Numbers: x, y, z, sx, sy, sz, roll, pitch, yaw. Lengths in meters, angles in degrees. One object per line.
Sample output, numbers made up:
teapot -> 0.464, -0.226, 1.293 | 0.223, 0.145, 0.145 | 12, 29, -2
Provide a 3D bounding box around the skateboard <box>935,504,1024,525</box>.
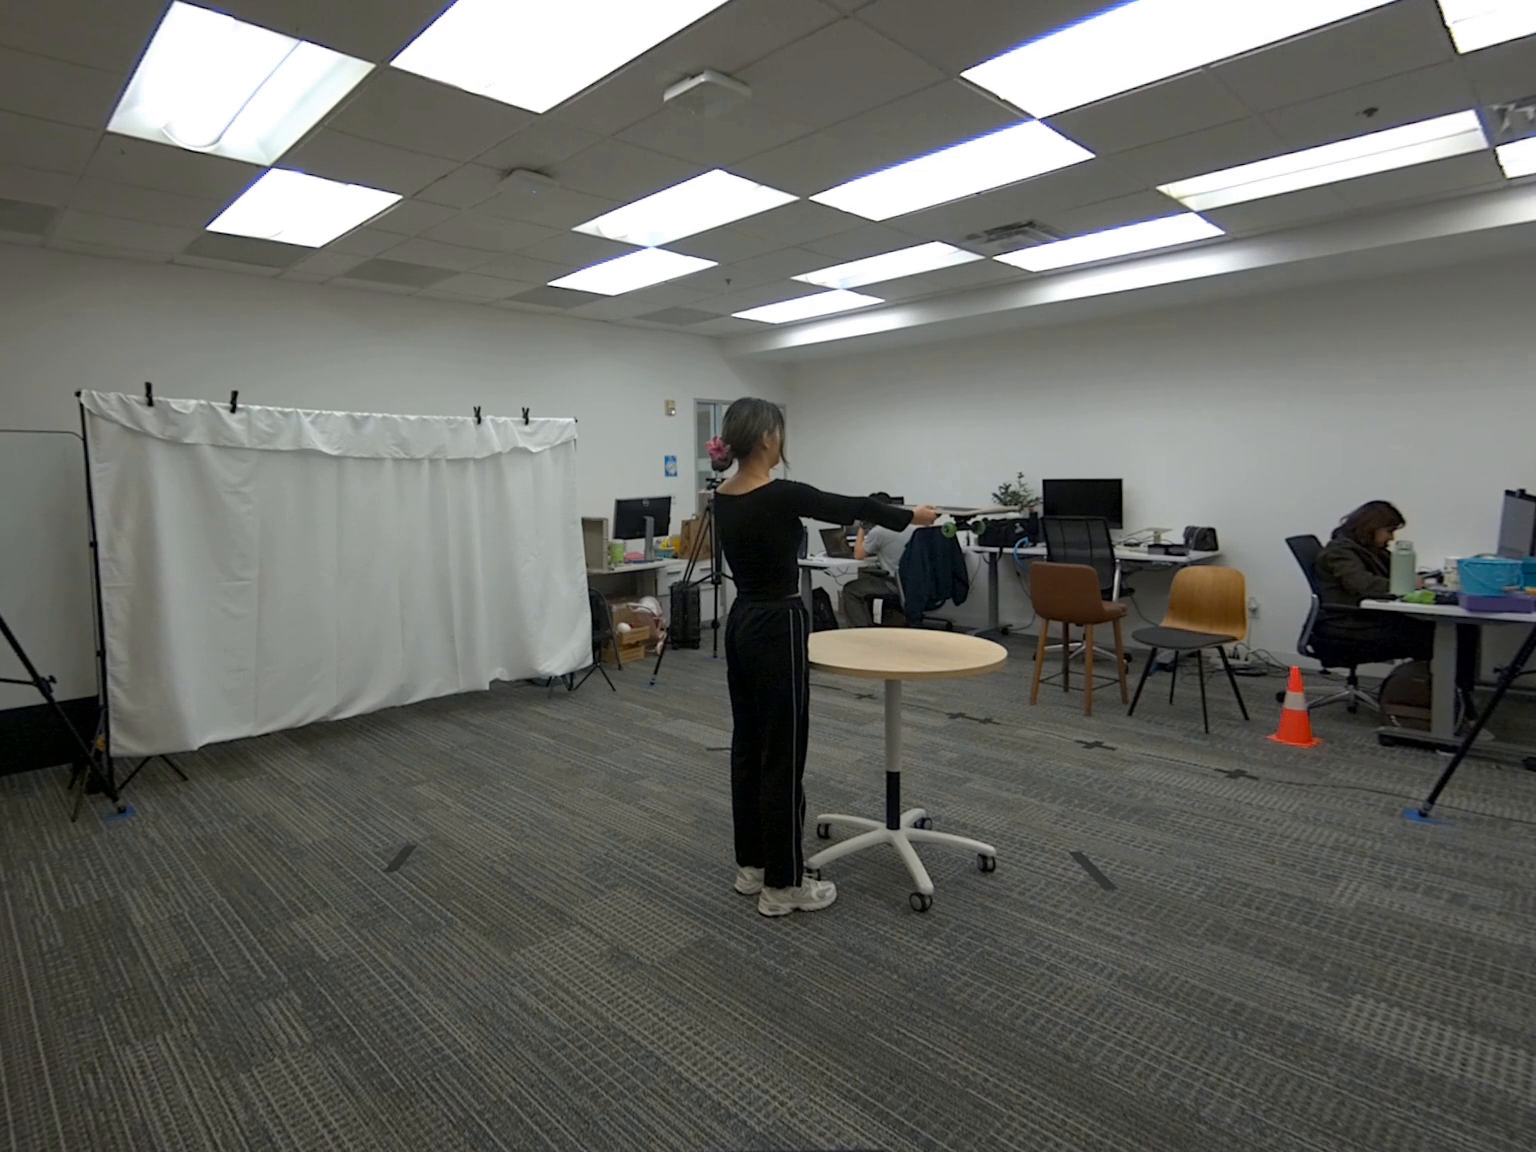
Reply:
skateboard -> 0.566, -0.218, 3.107 | 0.188, 0.110, 0.810 | -3, 8, -37
